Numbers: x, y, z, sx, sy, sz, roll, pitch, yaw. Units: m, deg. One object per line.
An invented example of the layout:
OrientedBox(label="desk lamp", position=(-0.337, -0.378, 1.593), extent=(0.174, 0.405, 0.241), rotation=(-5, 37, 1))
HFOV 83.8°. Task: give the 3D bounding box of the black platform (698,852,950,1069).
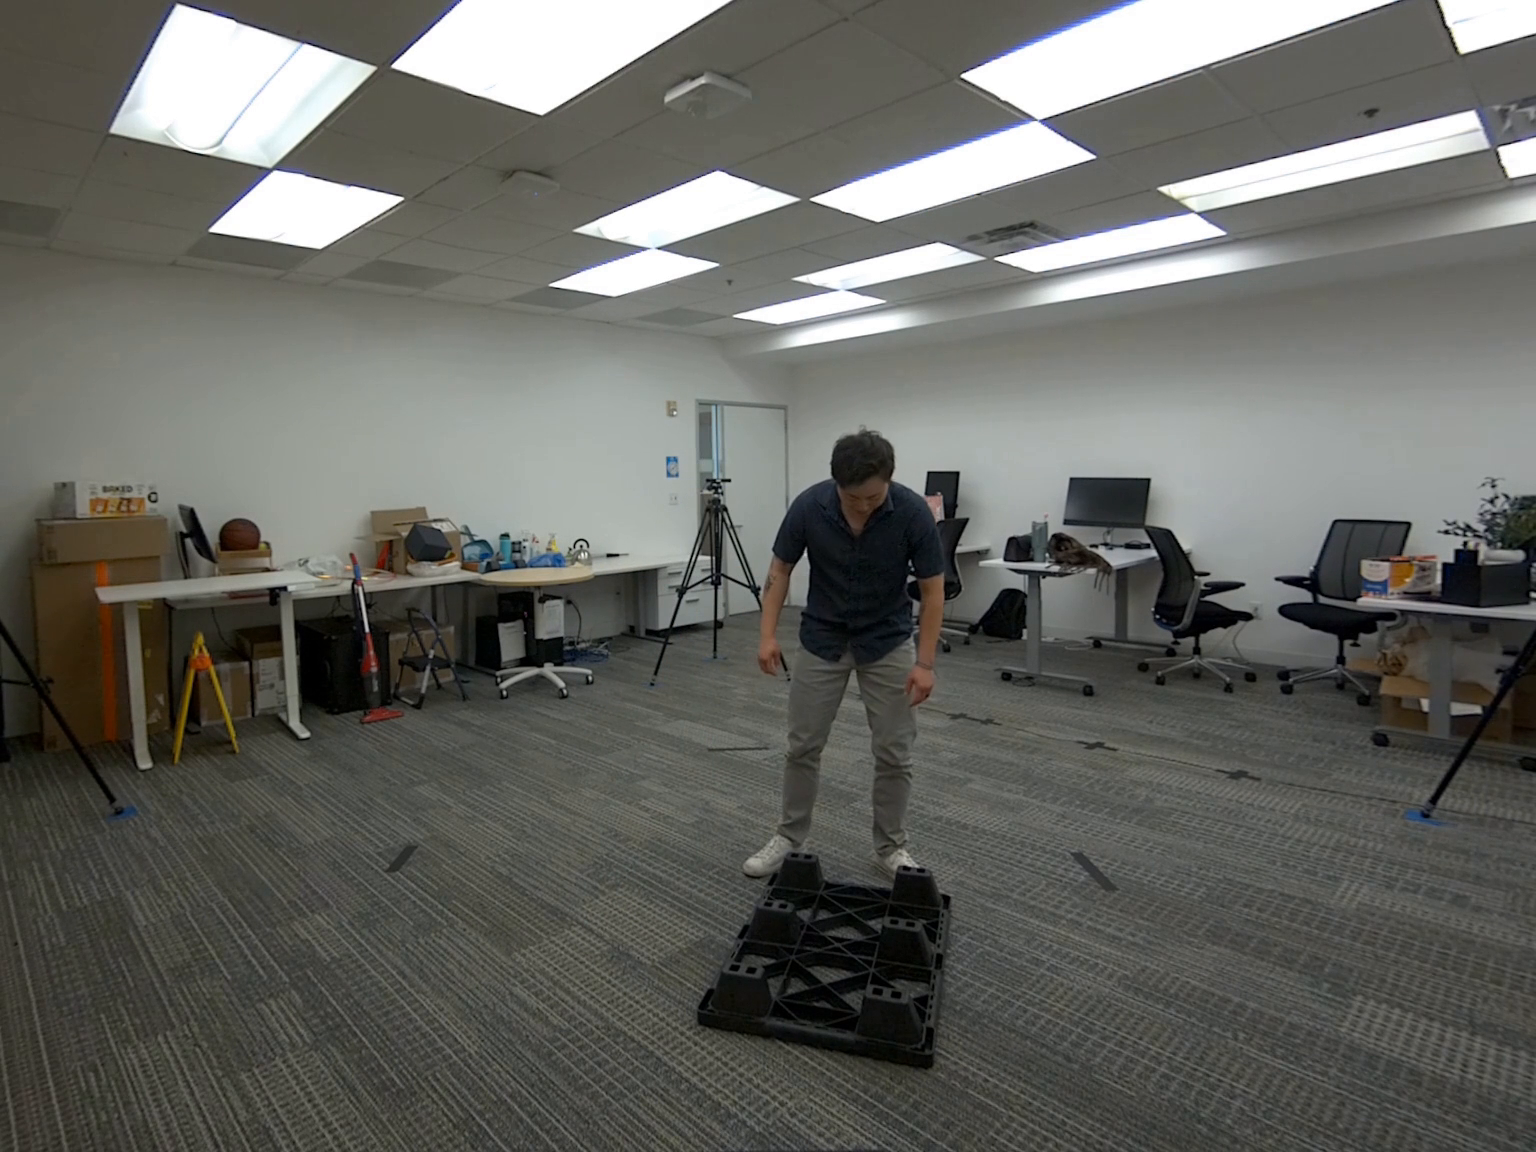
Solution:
OrientedBox(label="black platform", position=(0.213, 1.051, 2.469), extent=(0.615, 0.142, 0.796), rotation=(0, 7, 16))
